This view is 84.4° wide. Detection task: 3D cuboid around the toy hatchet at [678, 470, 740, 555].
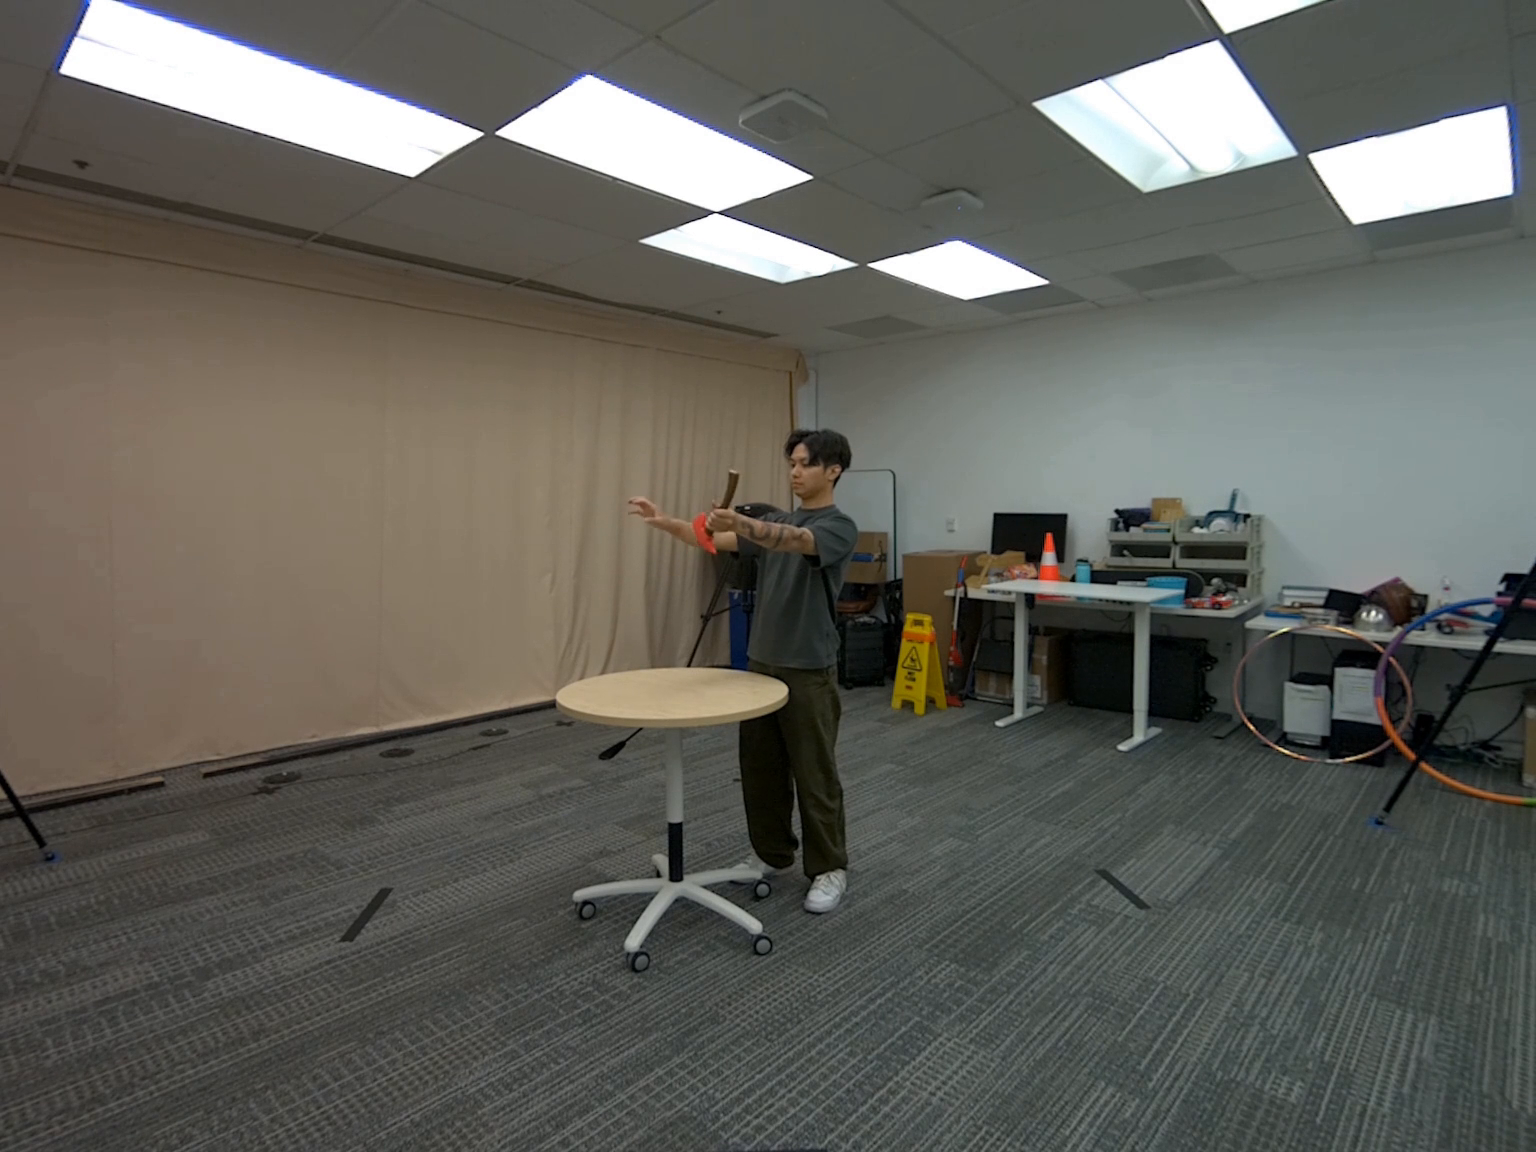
[{"bbox_3d":[-0.162,-0.201,2.521,0.029,0.268,0.136,-4,31,-41],"label":"toy hatchet"}]
